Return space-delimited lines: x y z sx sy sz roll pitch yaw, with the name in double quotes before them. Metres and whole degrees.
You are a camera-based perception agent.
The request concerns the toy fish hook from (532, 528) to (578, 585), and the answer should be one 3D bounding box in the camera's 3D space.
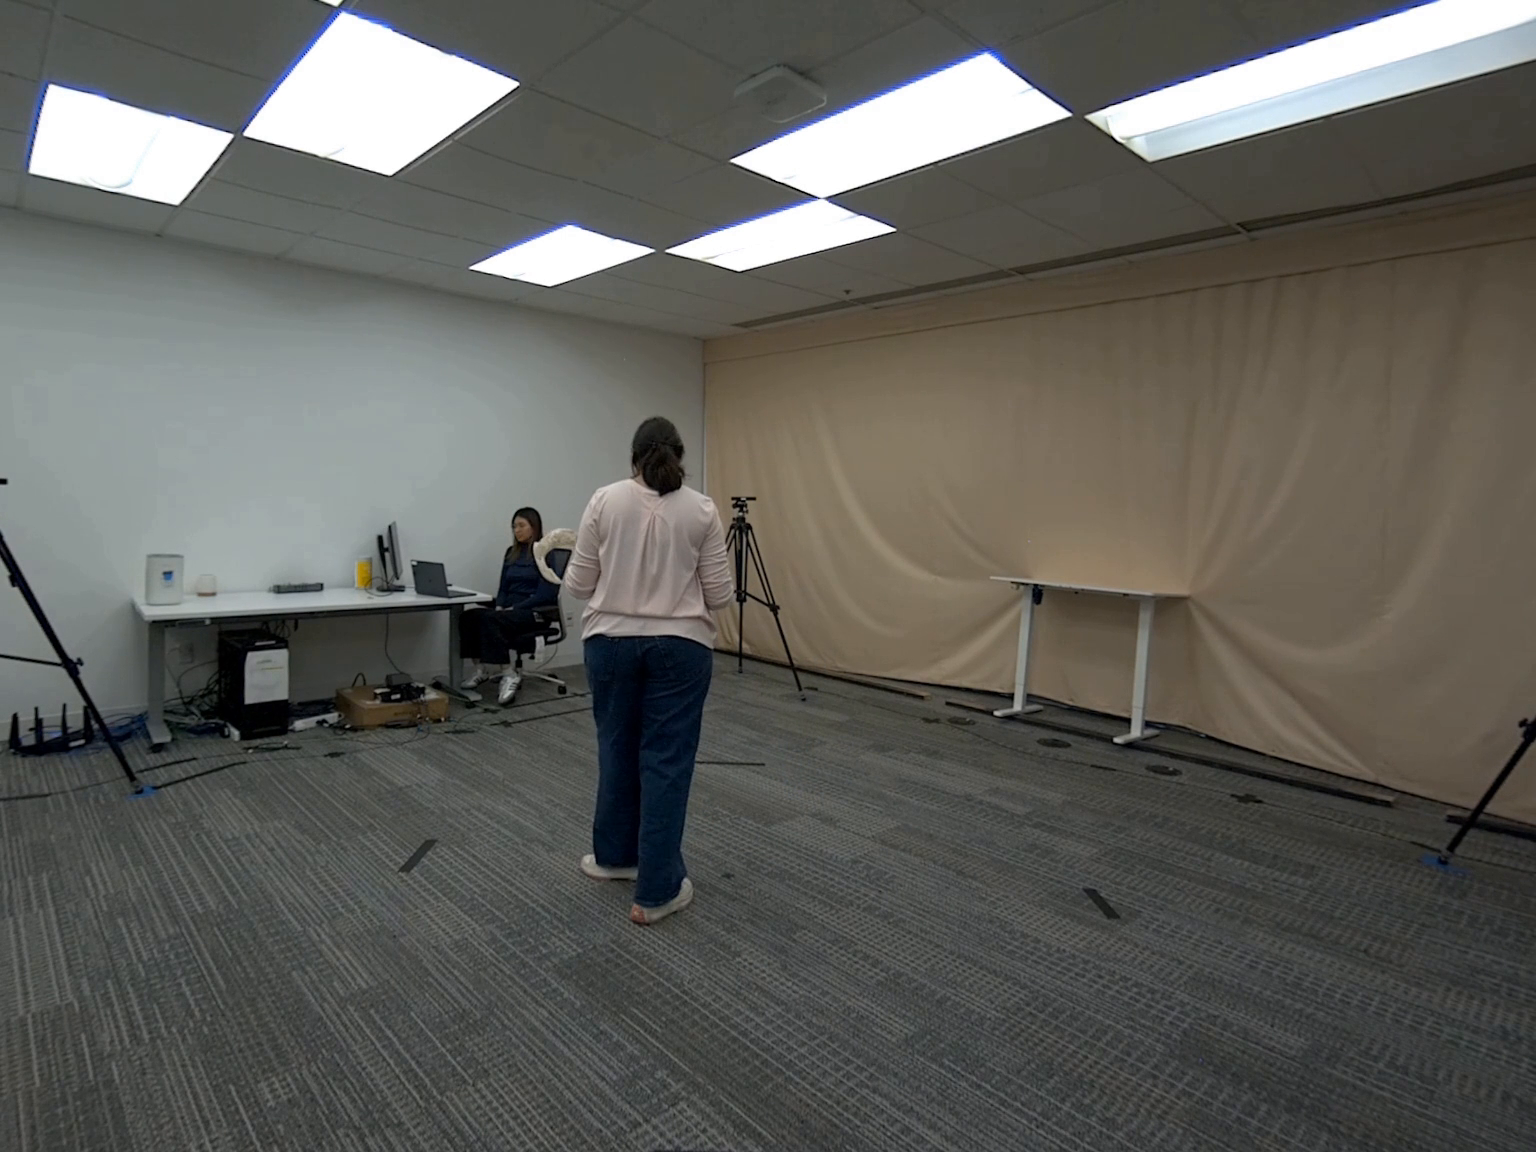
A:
"toy fish hook" -0.666 0.024 3.118 0.224 0.515 0.047 -41 -17 -24
